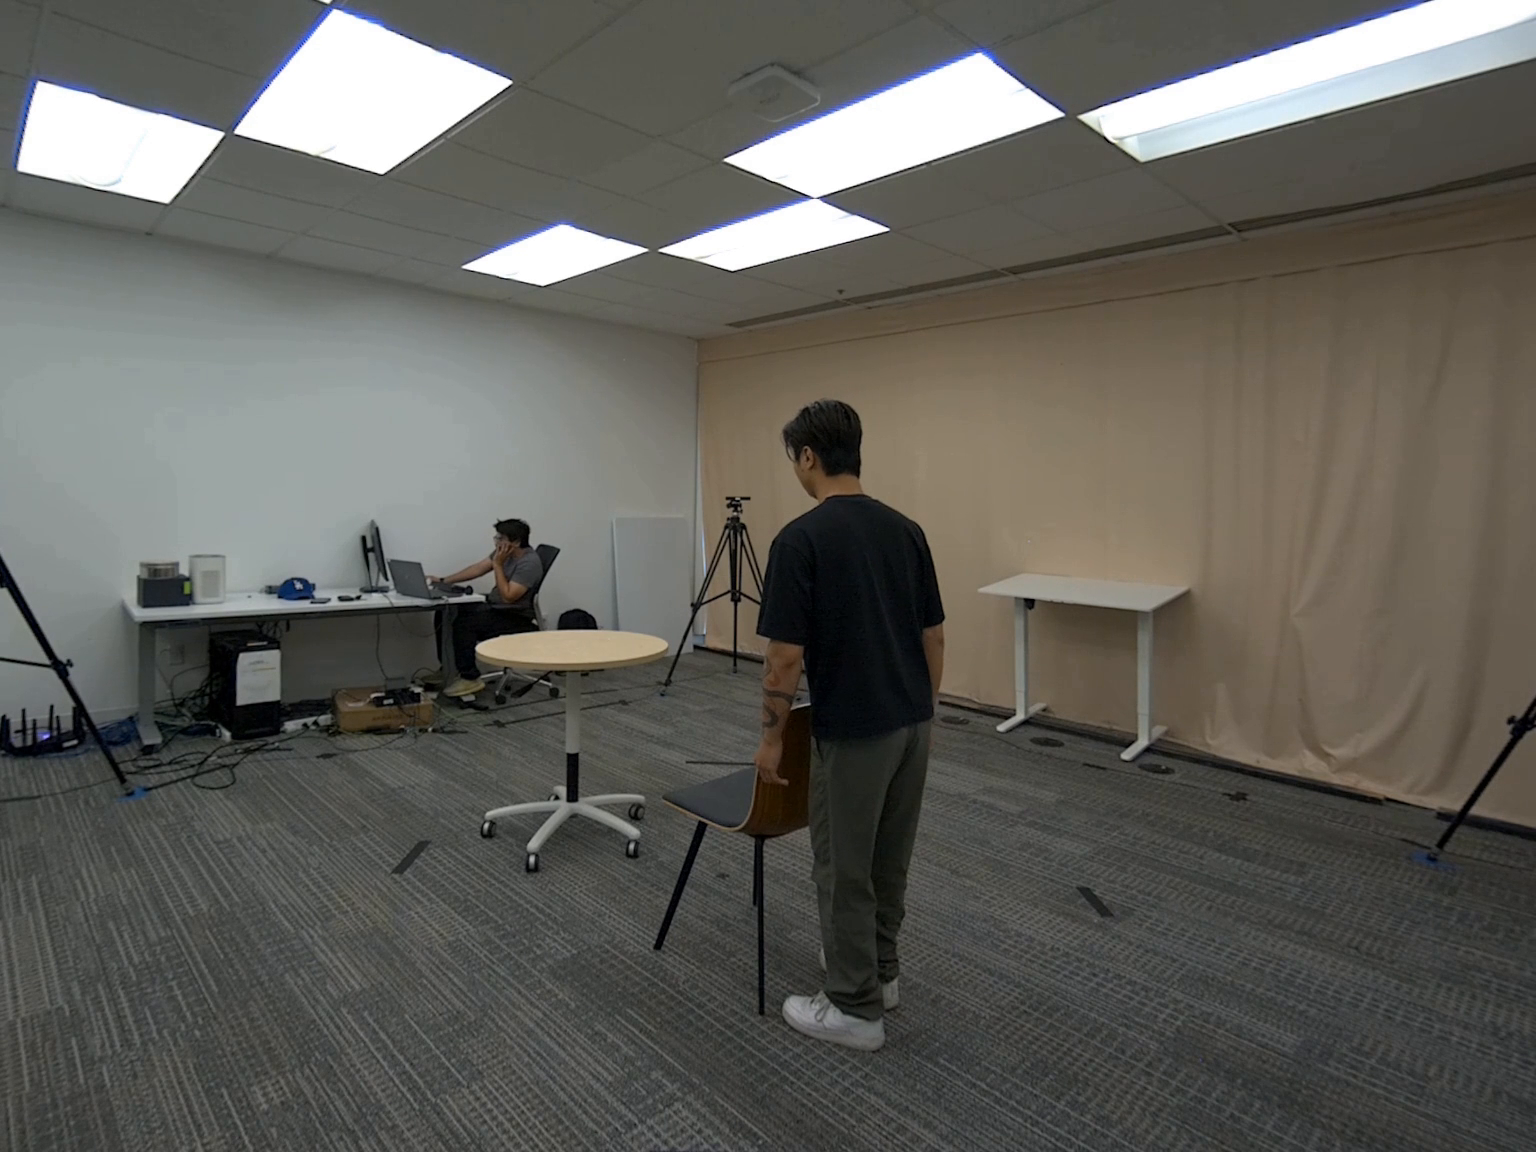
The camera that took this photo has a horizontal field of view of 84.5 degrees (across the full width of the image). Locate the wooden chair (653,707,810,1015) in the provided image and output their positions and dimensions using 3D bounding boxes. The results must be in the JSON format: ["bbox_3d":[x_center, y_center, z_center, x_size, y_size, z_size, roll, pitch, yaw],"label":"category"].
[{"bbox_3d":[-0.032,0.730,2.555,0.538,0.873,0.467,11,10,43],"label":"wooden chair"}]
